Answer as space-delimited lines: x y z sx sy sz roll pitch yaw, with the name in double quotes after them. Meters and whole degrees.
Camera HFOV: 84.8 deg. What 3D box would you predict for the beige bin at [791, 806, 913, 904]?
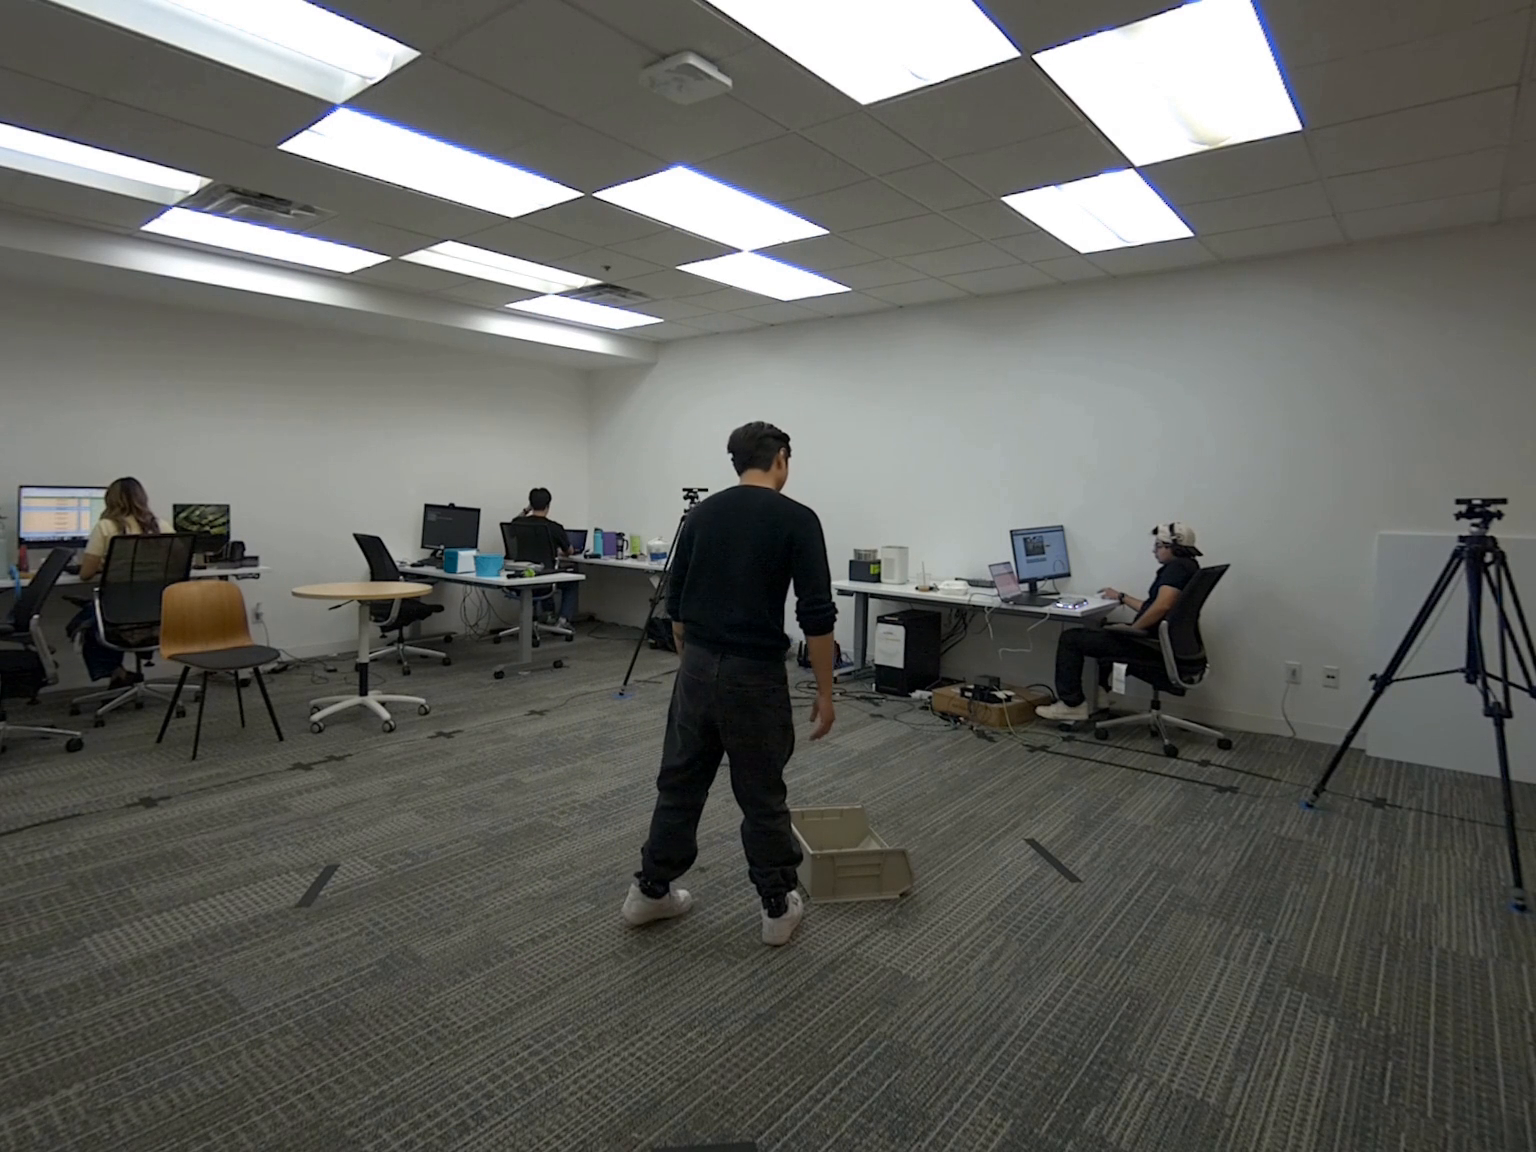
0.274 1.001 3.093 0.372 0.188 0.429 0 5 -13 "beige bin"
